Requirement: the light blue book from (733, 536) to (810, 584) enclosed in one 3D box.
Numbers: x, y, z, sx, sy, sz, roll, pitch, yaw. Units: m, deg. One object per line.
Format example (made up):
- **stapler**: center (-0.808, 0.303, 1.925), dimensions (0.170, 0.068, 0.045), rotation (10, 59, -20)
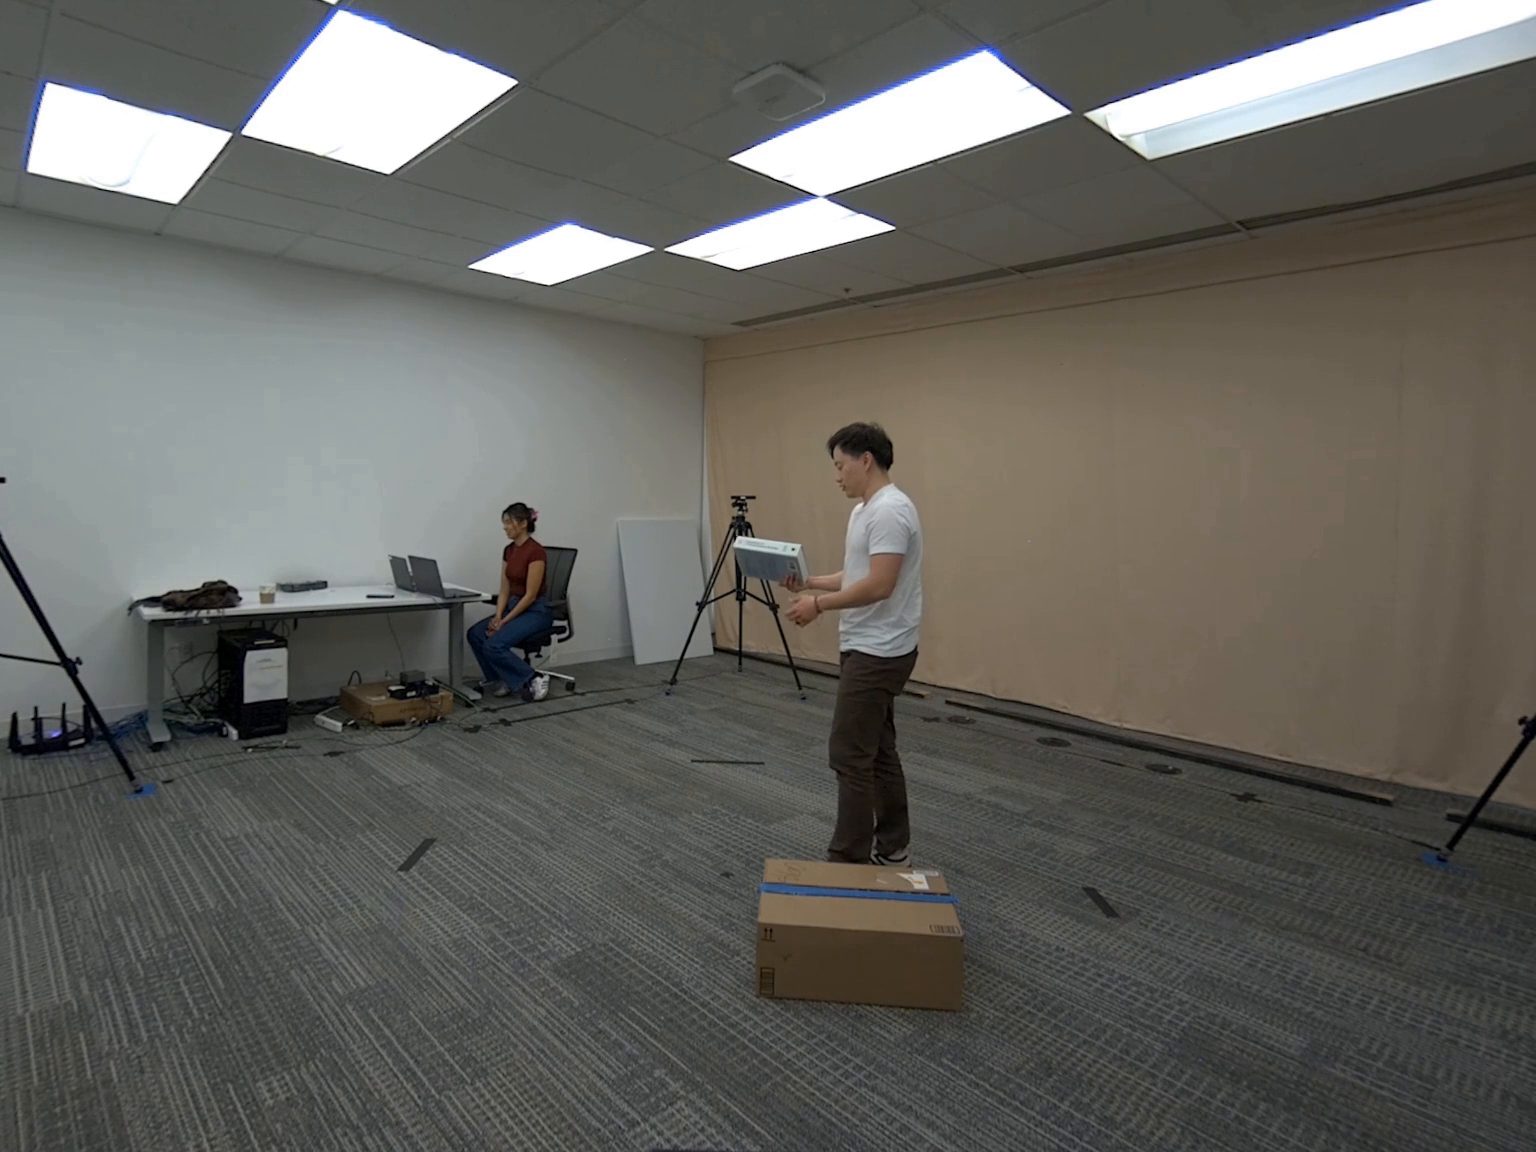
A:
- **light blue book**: center (0.004, -0.055, 3.224), dimensions (0.266, 0.059, 0.186), rotation (9, -34, 23)
